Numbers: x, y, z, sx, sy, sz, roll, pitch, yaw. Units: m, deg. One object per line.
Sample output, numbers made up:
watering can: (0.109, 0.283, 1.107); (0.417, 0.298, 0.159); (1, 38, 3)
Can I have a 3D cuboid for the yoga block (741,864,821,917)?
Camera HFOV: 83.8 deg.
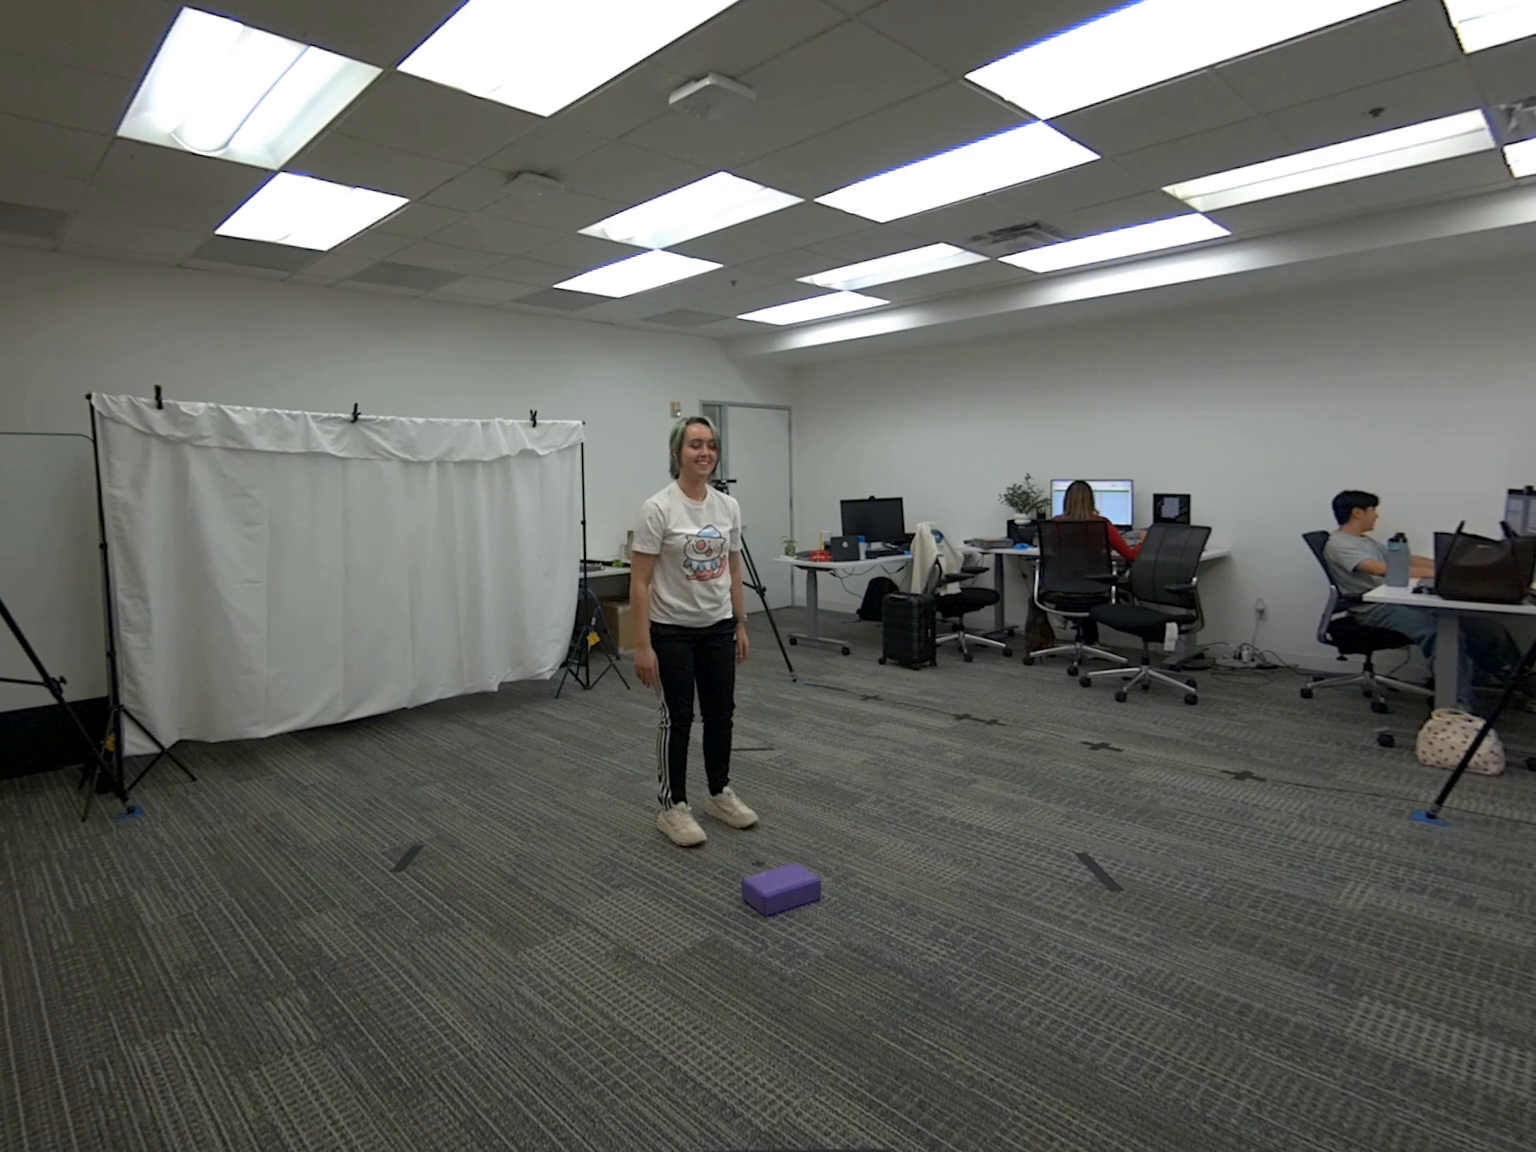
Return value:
yoga block: (0.049, 1.038, 2.834); (0.224, 0.076, 0.153); (-4, 7, -30)
